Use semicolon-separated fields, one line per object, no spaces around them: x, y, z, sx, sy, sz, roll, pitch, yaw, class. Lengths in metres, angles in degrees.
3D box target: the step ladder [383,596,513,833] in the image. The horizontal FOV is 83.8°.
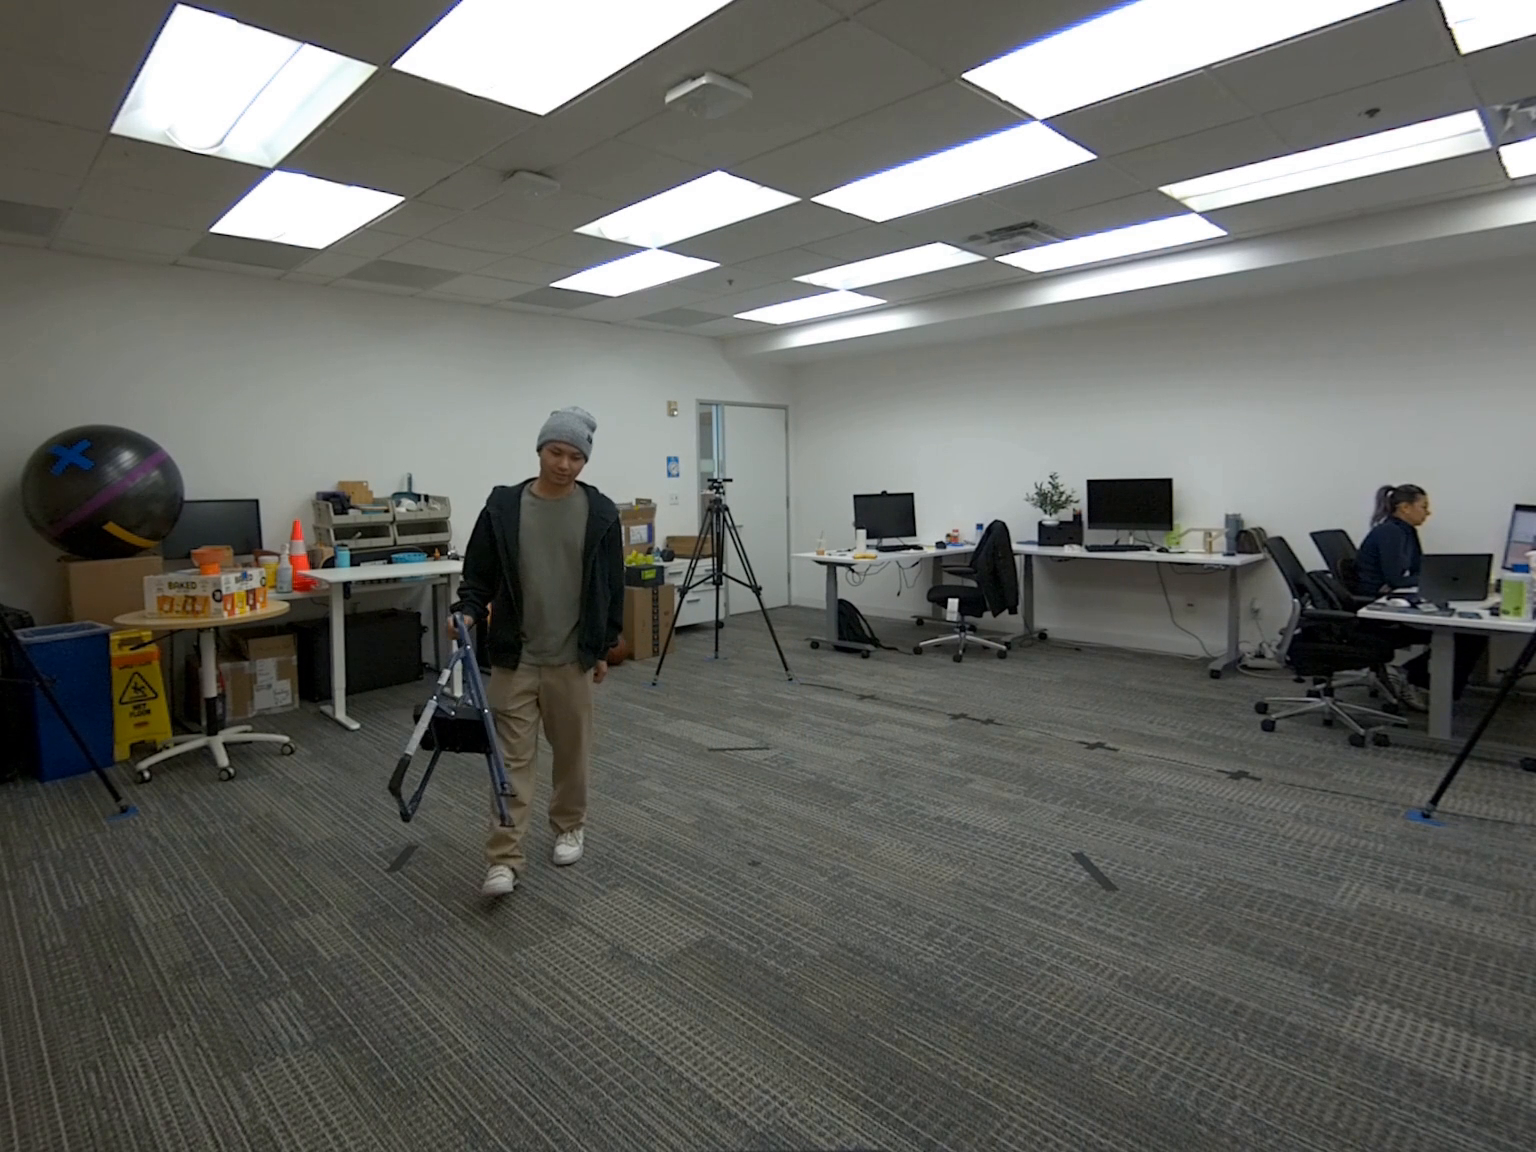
-0.942;0.447;2.714;0.345;0.620;0.425;7;-31;-12;step ladder
